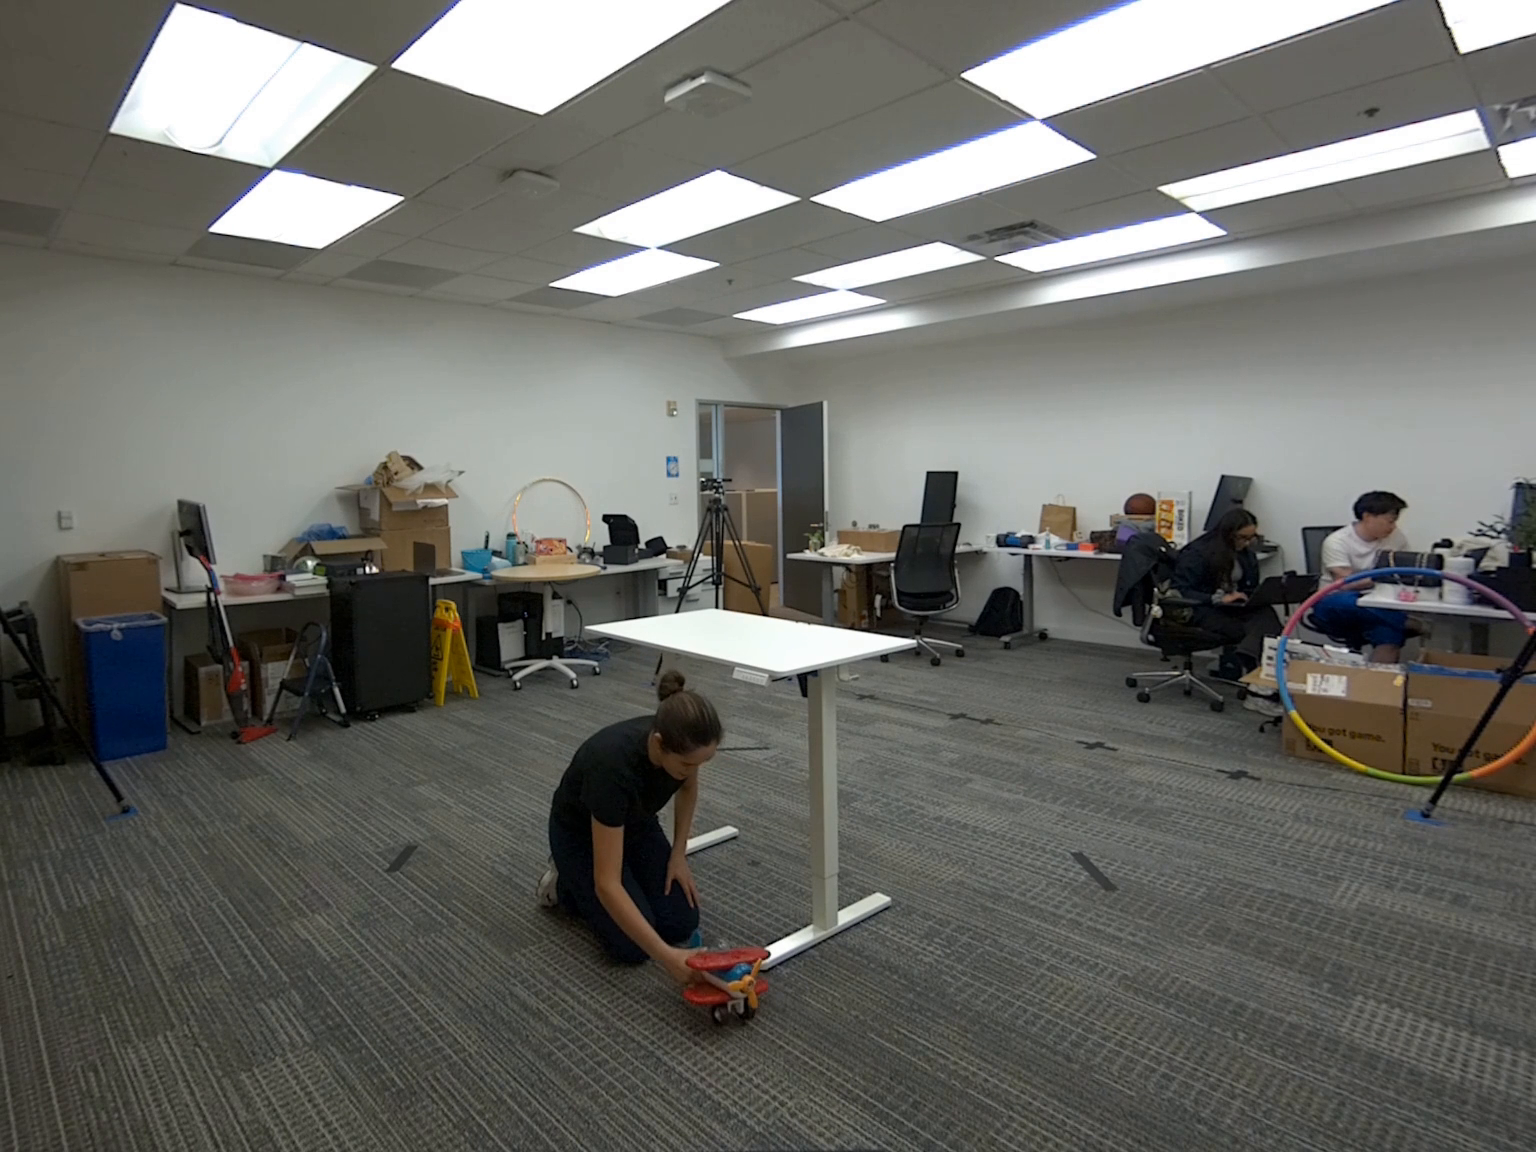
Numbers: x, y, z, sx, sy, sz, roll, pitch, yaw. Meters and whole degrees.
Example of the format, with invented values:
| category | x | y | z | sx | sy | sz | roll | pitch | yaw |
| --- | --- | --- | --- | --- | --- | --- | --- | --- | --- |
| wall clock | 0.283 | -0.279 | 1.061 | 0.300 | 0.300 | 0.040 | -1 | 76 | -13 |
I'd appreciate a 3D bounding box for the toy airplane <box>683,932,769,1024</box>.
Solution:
| category | x | y | z | sx | sy | sz | roll | pitch | yaw |
| --- | --- | --- | --- | --- | --- | --- | --- | --- | --- |
| toy airplane | -0.134 | 1.040 | 2.244 | 0.266 | 0.156 | 0.245 | 14 | 3 | 23 |
